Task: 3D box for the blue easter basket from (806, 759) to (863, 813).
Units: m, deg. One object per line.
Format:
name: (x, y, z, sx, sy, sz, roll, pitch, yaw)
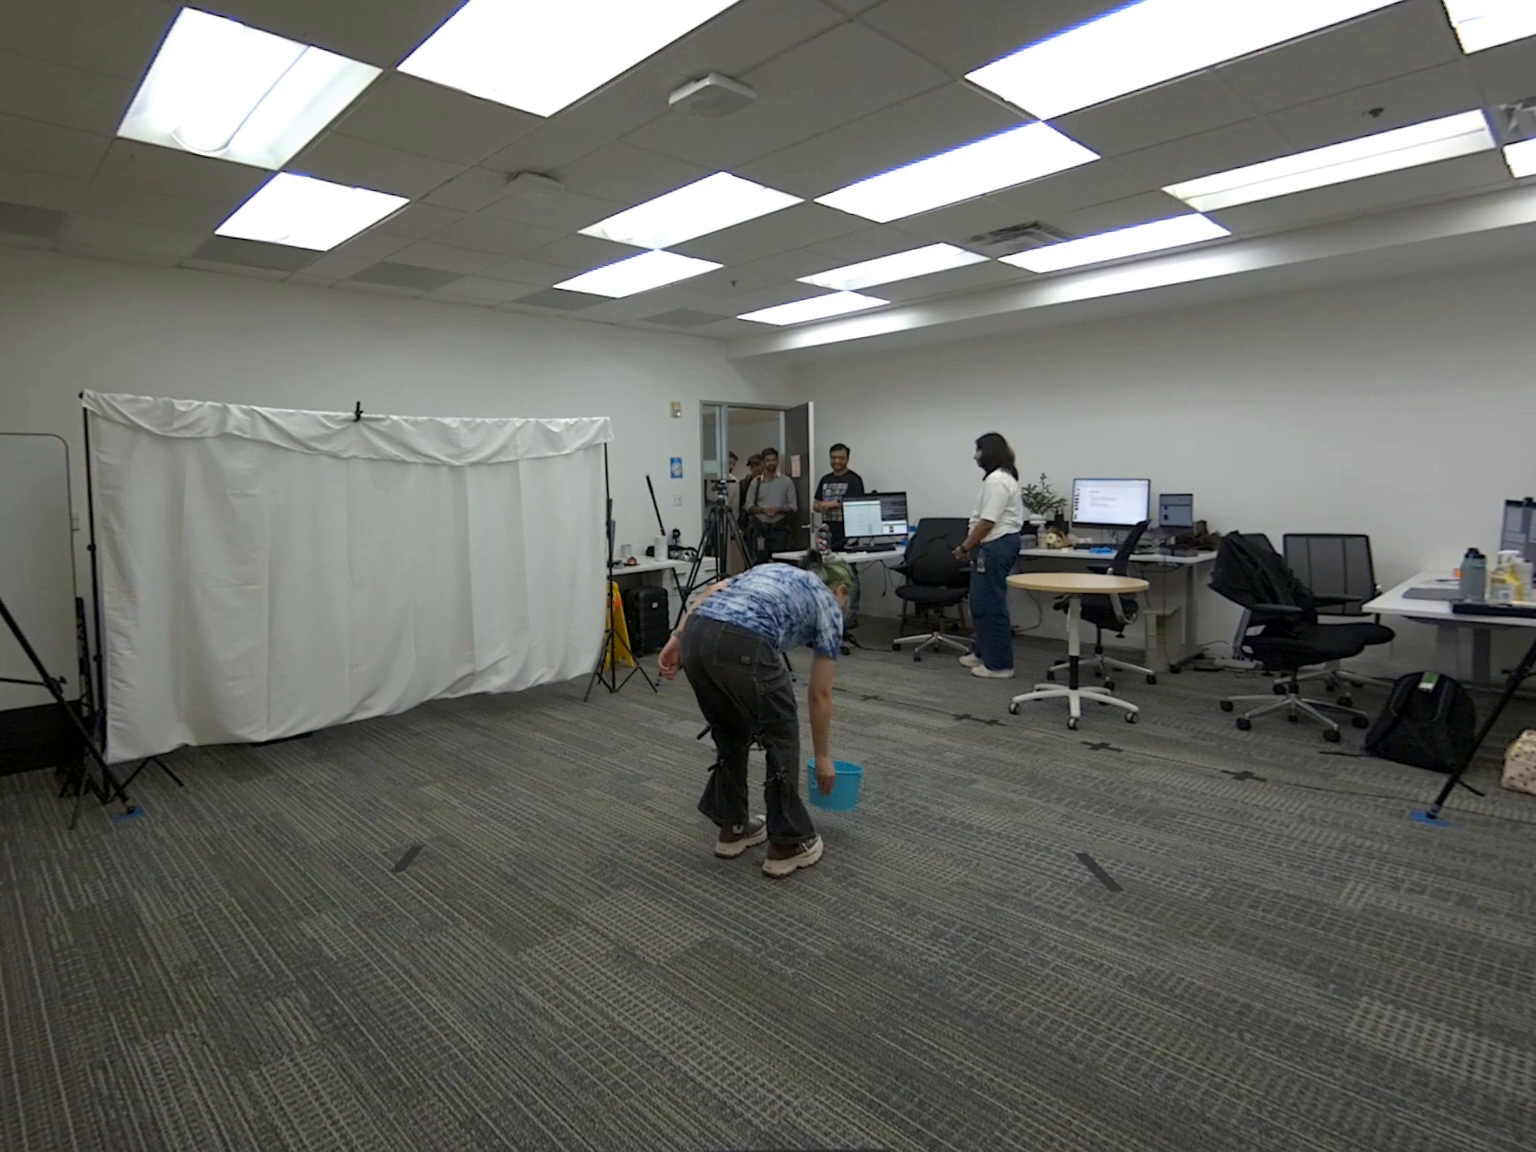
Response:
blue easter basket: (0.271, 0.816, 3.363, 0.243, 0.156, 0.243, 5, 0, -2)
